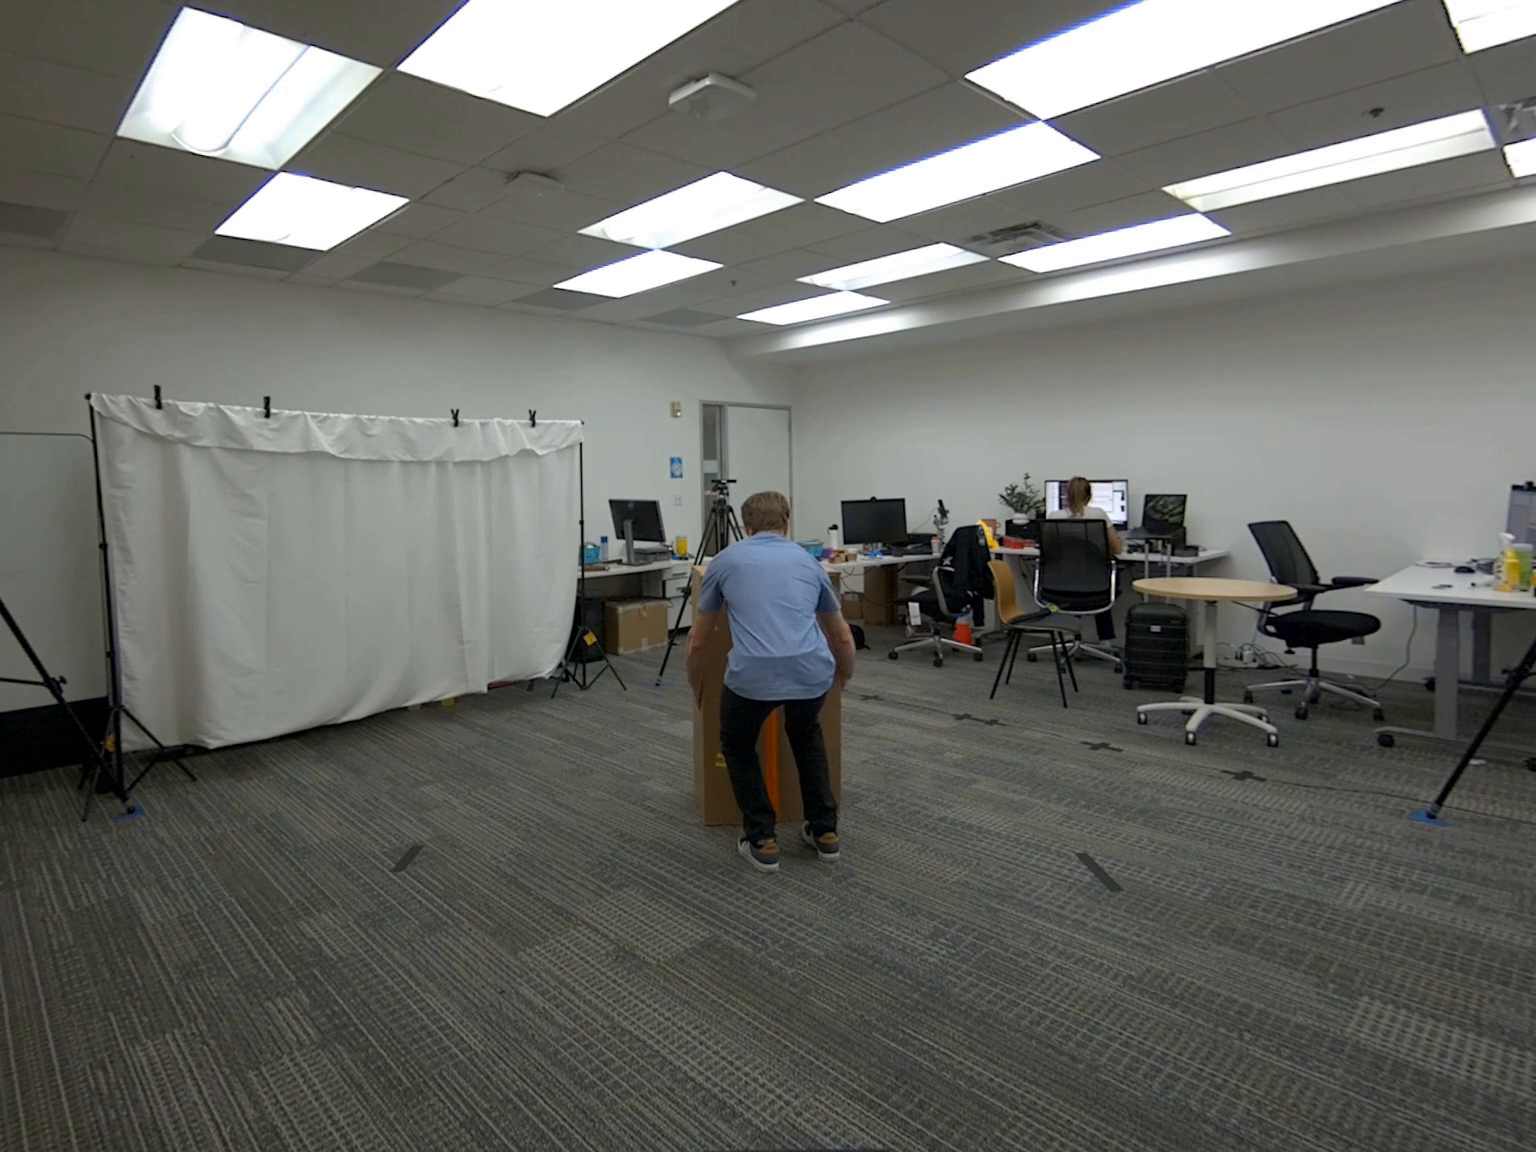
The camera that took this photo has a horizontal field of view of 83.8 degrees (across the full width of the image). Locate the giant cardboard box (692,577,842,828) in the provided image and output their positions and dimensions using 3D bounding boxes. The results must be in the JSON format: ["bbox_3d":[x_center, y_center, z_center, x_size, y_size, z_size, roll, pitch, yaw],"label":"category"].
[{"bbox_3d":[-0.015,0.476,3.664,0.573,1.022,0.431,-1,4,-8],"label":"giant cardboard box"}]
